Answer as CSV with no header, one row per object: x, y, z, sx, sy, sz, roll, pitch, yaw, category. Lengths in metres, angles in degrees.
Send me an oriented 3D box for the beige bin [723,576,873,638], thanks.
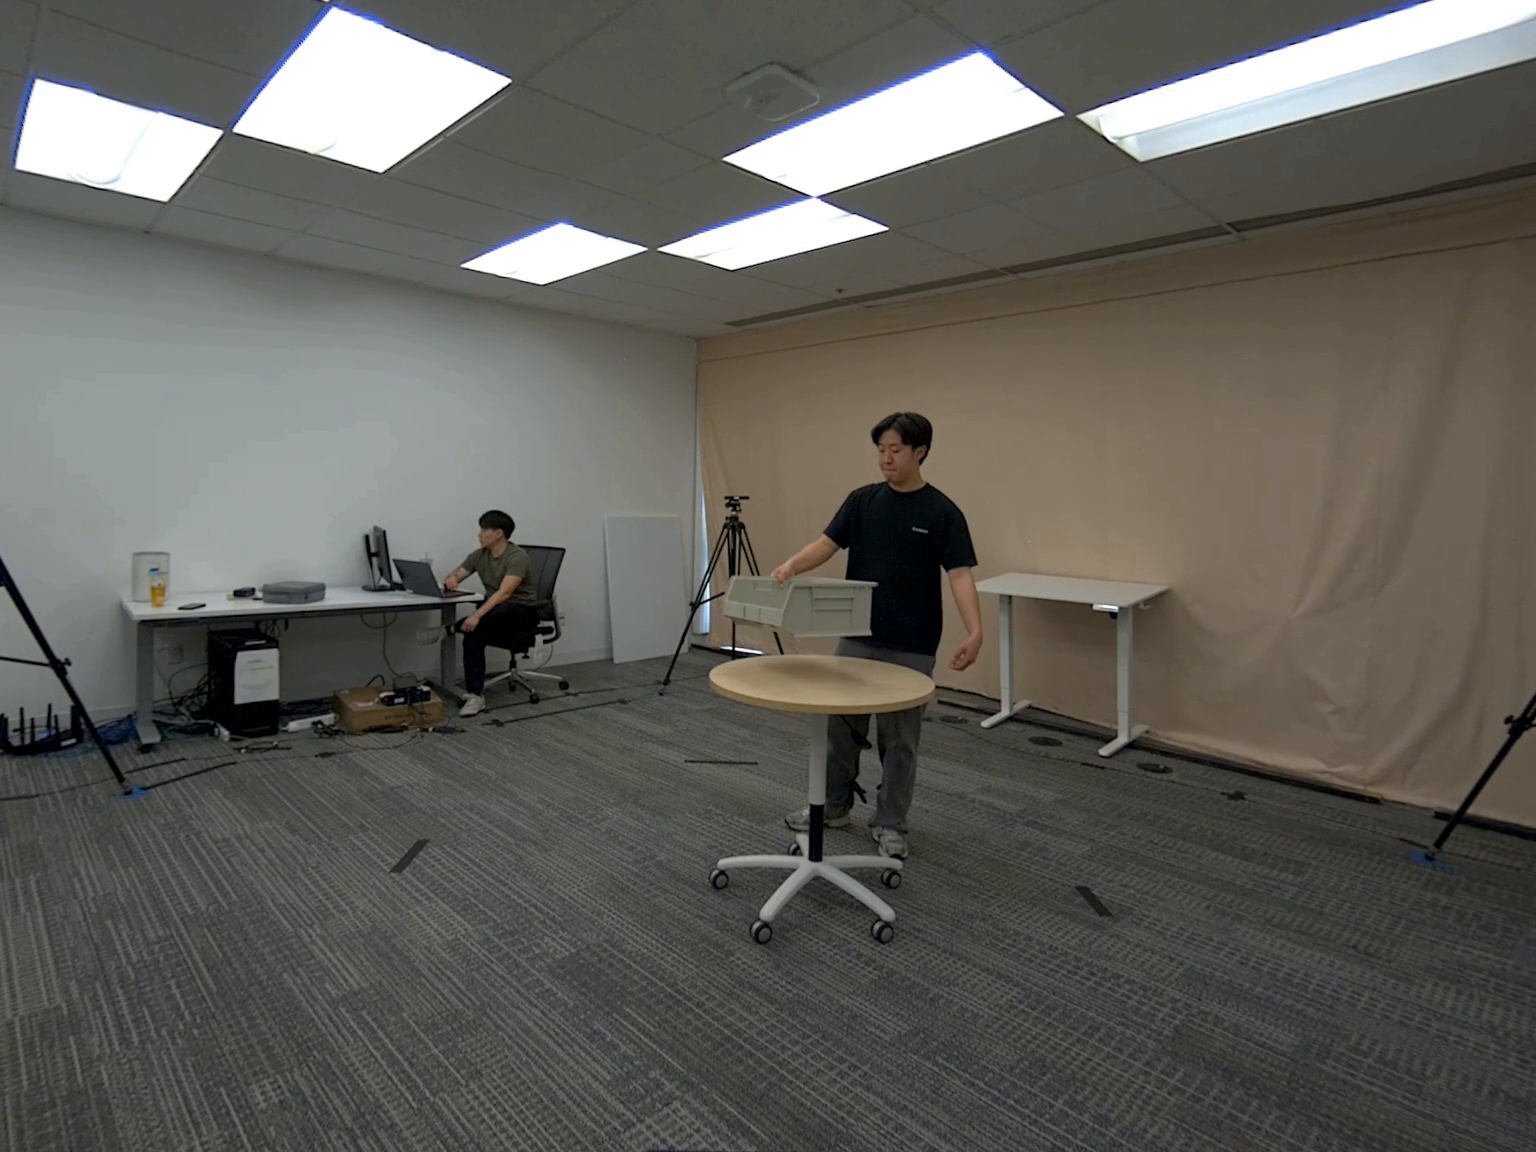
0.099,0.108,2.961,0.369,0.189,0.431,1,2,-31,beige bin
